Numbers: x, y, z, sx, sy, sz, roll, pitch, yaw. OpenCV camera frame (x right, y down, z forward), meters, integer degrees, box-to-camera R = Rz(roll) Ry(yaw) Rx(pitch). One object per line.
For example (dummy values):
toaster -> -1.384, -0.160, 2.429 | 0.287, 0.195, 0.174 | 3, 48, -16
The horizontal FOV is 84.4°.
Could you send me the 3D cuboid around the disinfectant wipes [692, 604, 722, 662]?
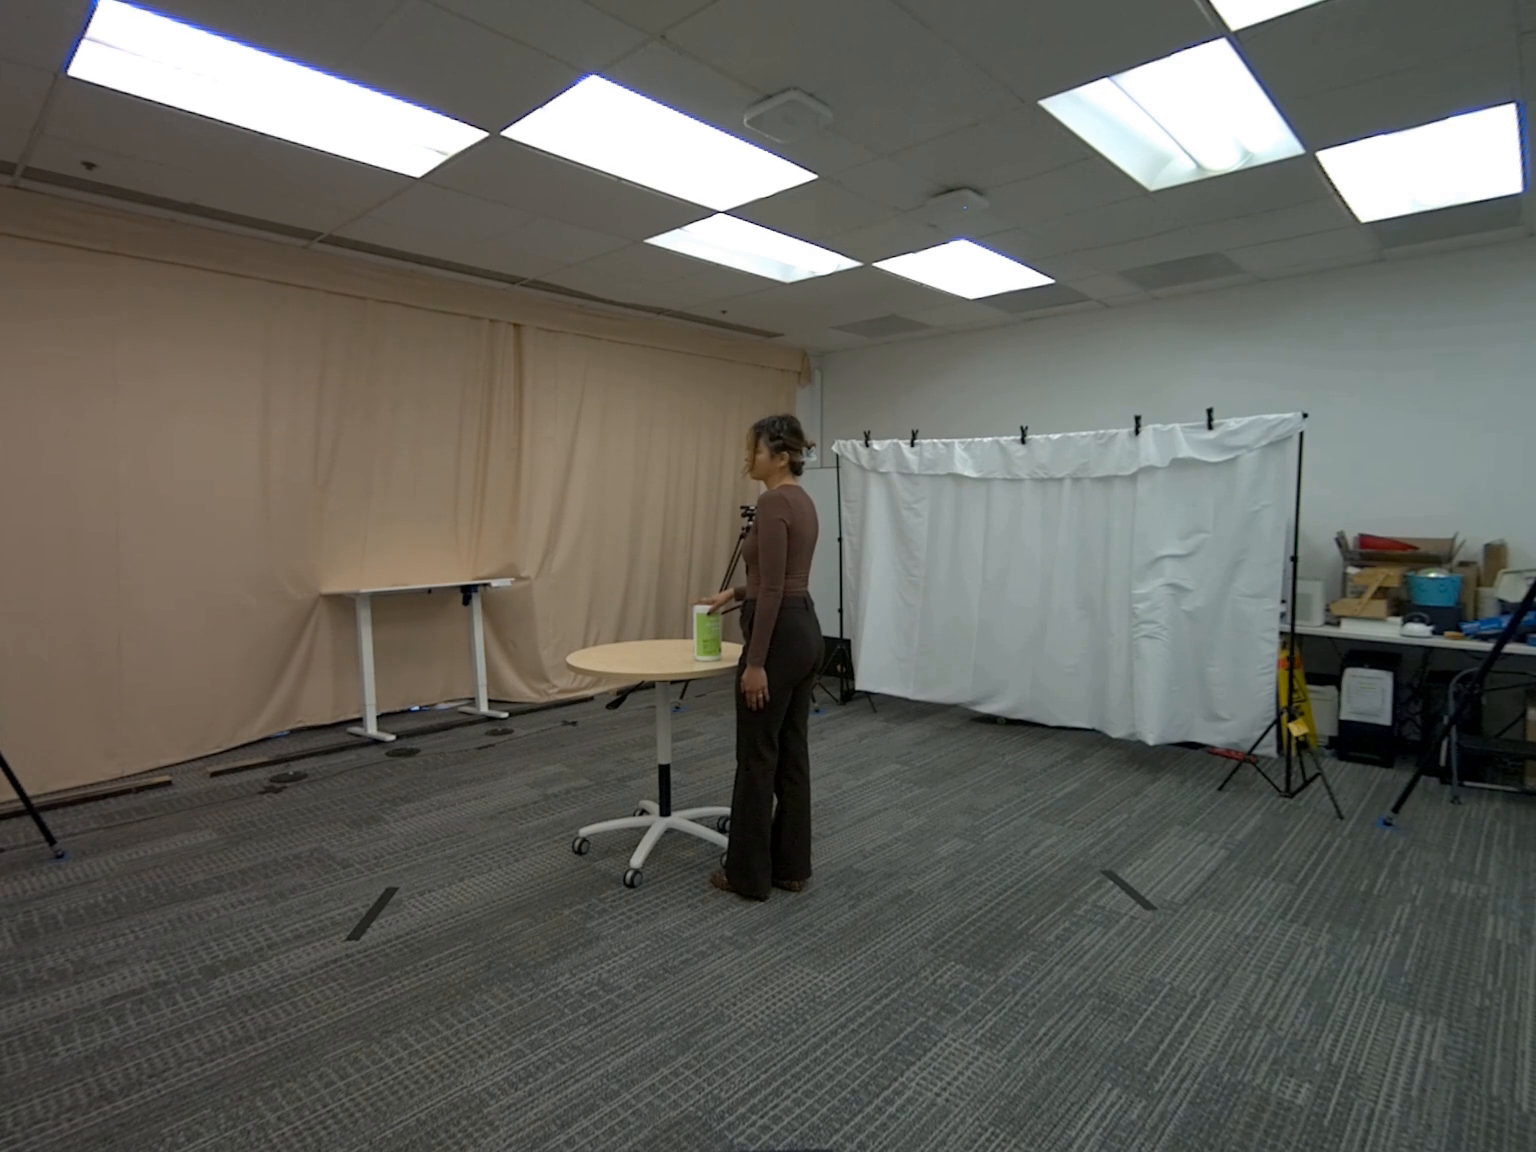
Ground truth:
disinfectant wipes -> -0.235, 0.220, 3.264 | 0.118, 0.217, 0.118 | 0, 5, -2
